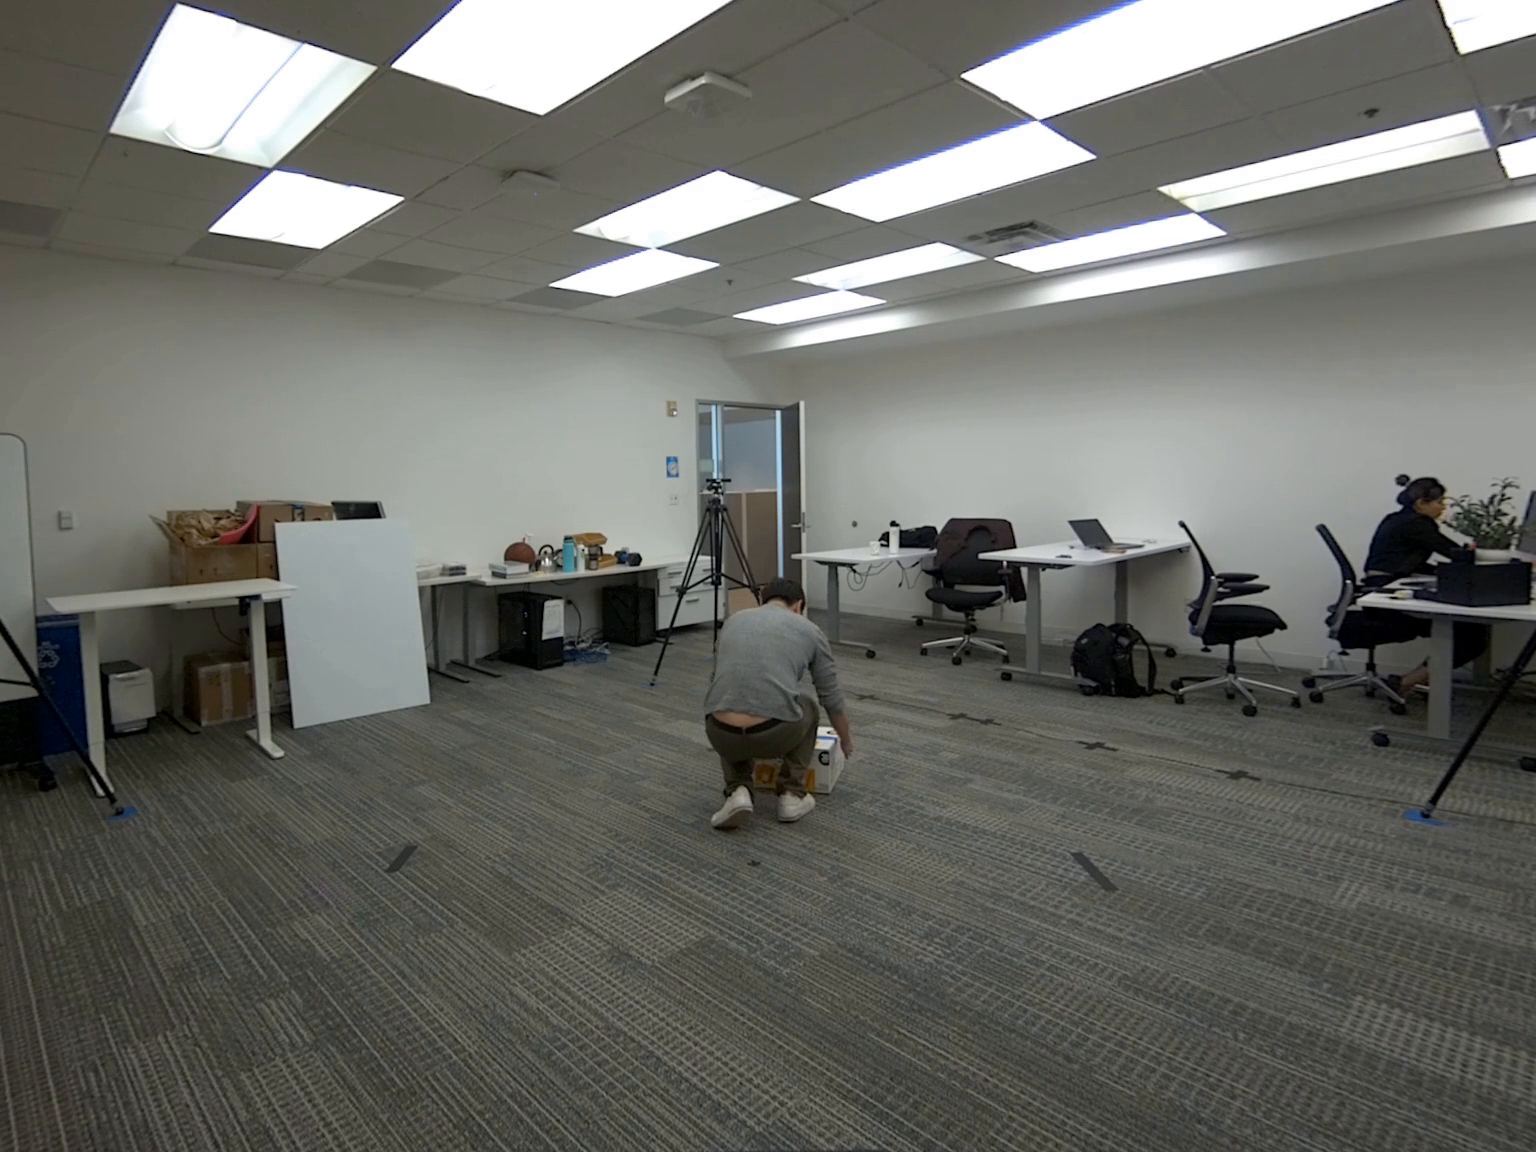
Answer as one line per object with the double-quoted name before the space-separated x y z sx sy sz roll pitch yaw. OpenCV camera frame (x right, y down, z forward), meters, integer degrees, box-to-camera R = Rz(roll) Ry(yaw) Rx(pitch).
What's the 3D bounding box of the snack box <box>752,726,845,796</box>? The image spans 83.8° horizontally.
"snack box" 0.123 0.838 3.972 0.412 0.205 0.336 0 6 16
